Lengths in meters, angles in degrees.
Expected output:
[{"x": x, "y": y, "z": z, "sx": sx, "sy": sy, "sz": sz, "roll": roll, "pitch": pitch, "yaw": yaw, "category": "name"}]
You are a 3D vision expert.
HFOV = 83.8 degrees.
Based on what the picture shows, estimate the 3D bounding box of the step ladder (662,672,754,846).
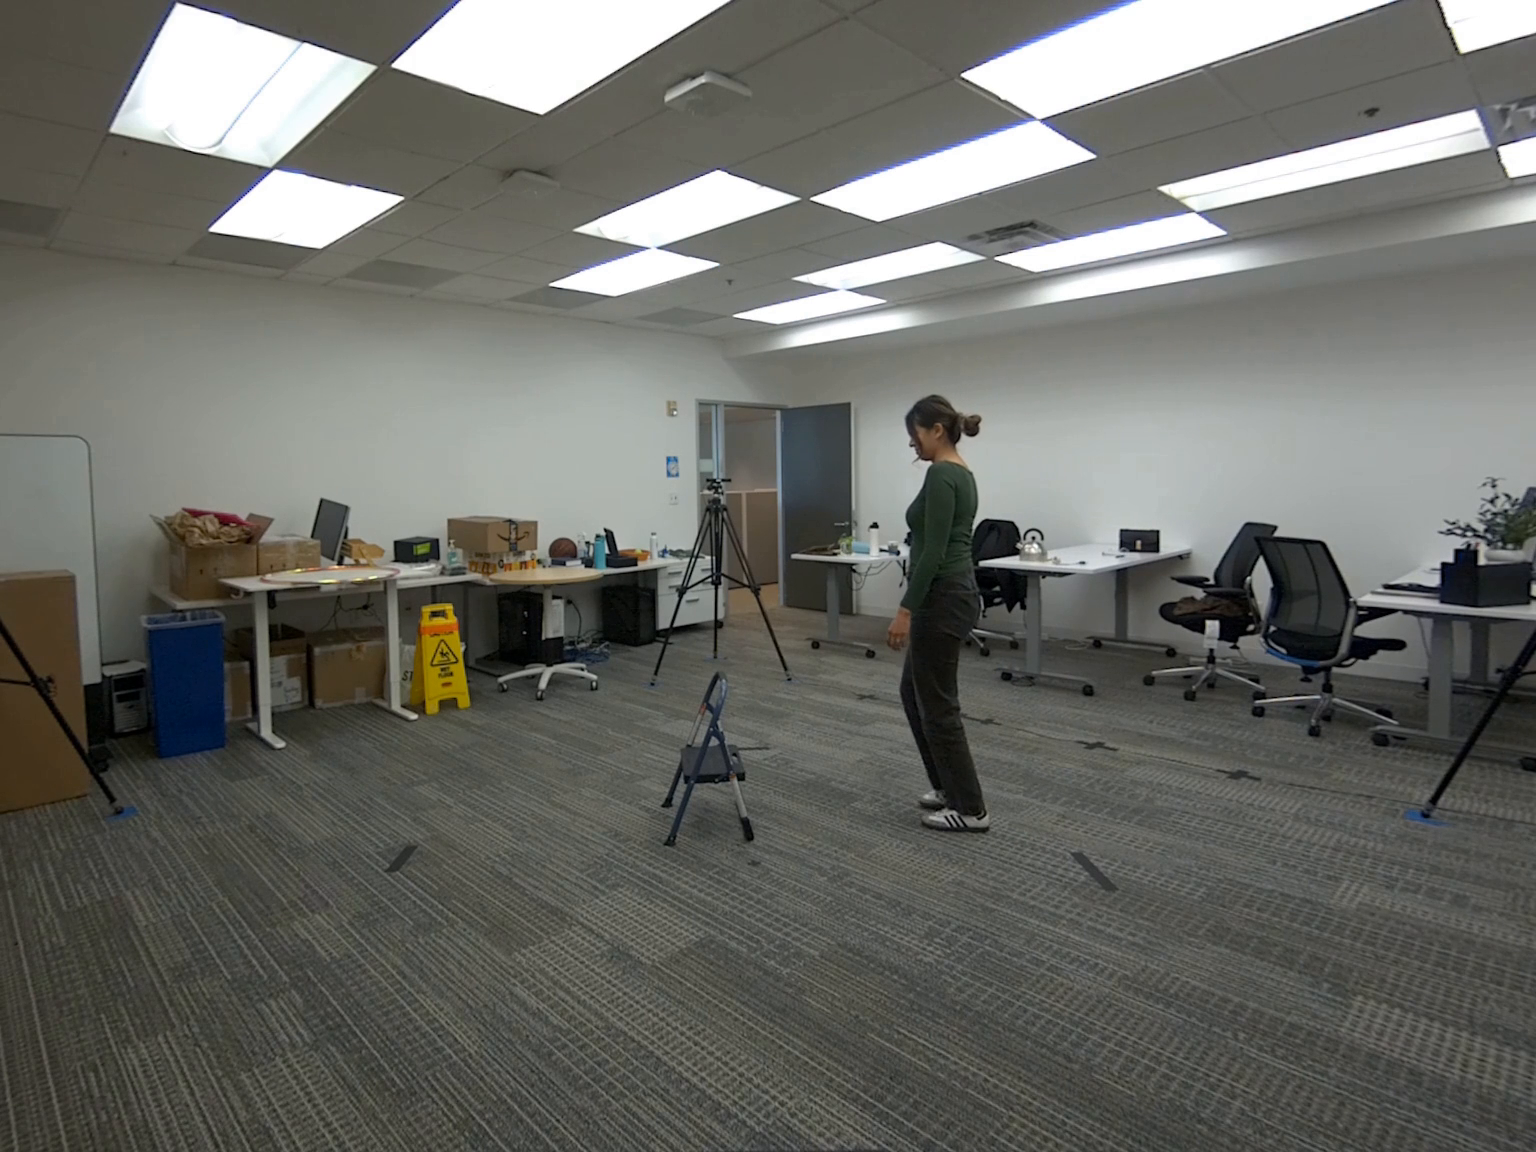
[{"x": -0.251, "y": 0.708, "z": 3.465, "sx": 0.347, "sy": 0.604, "sz": 0.435, "roll": -1, "pitch": 4, "yaw": -7, "category": "step ladder"}]
